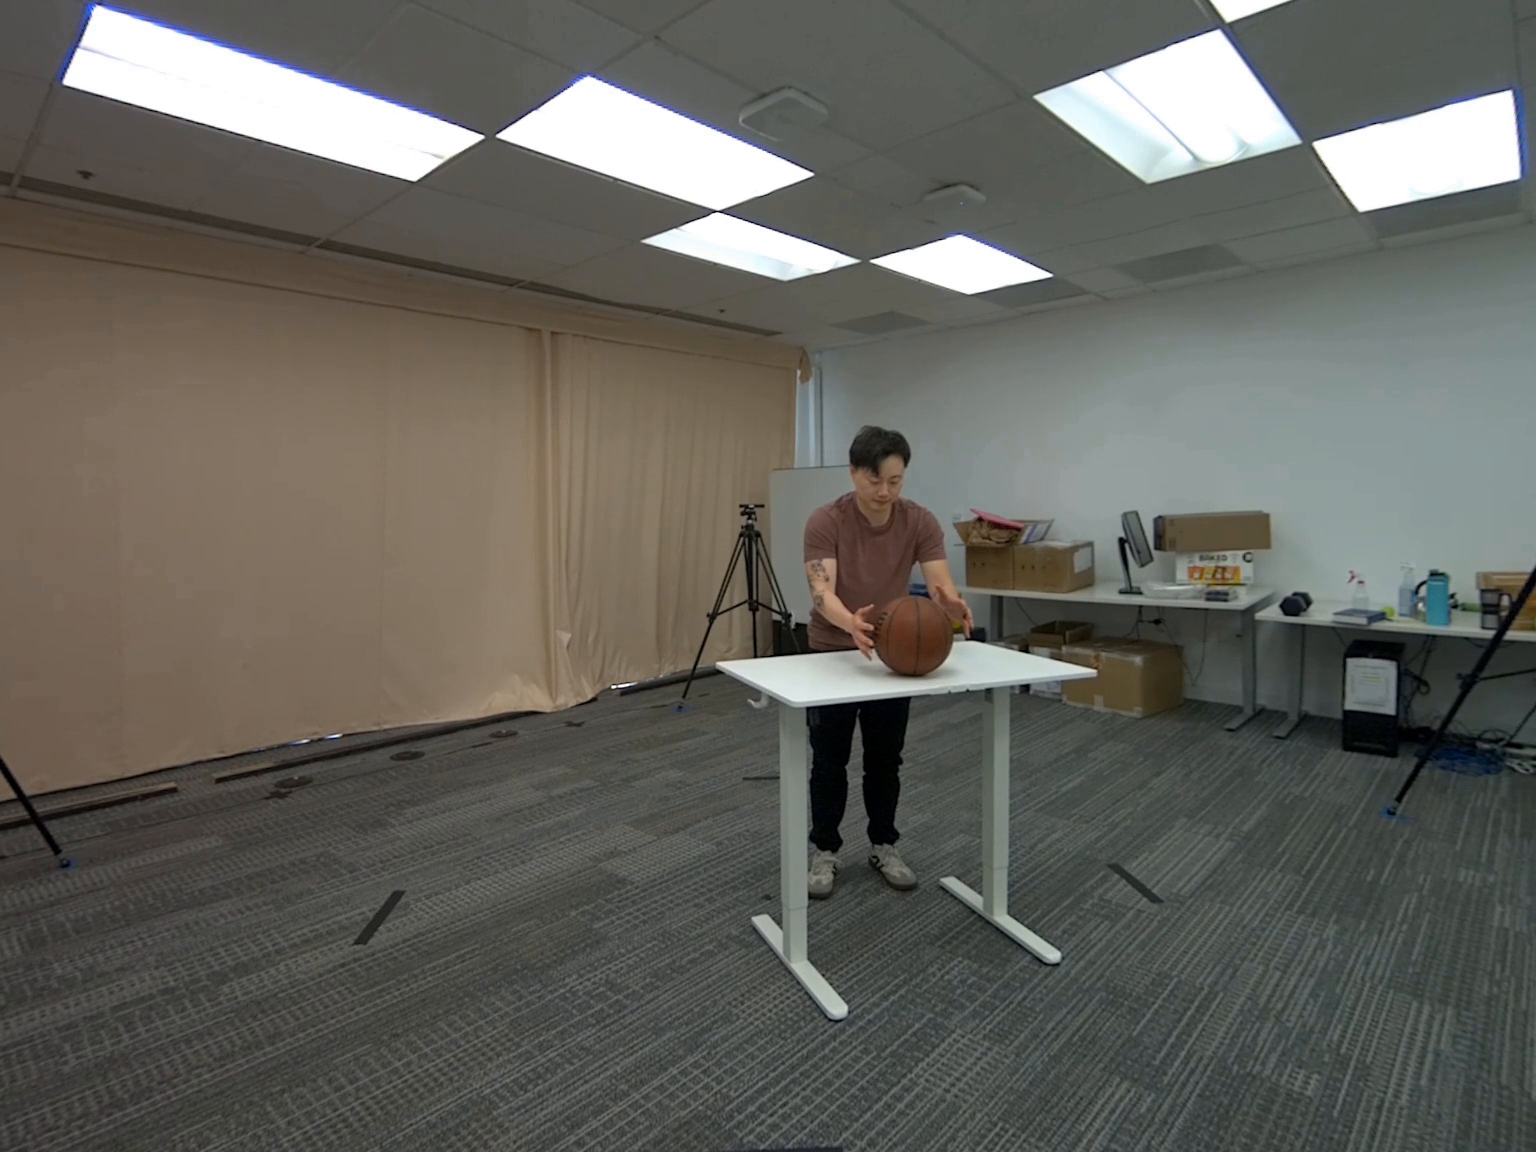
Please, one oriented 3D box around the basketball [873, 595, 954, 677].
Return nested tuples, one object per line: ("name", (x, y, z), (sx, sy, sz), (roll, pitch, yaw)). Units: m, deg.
("basketball", (0.420, 0.175, 2.483), (0.236, 0.235, 0.237), (-1, 4, -2))
